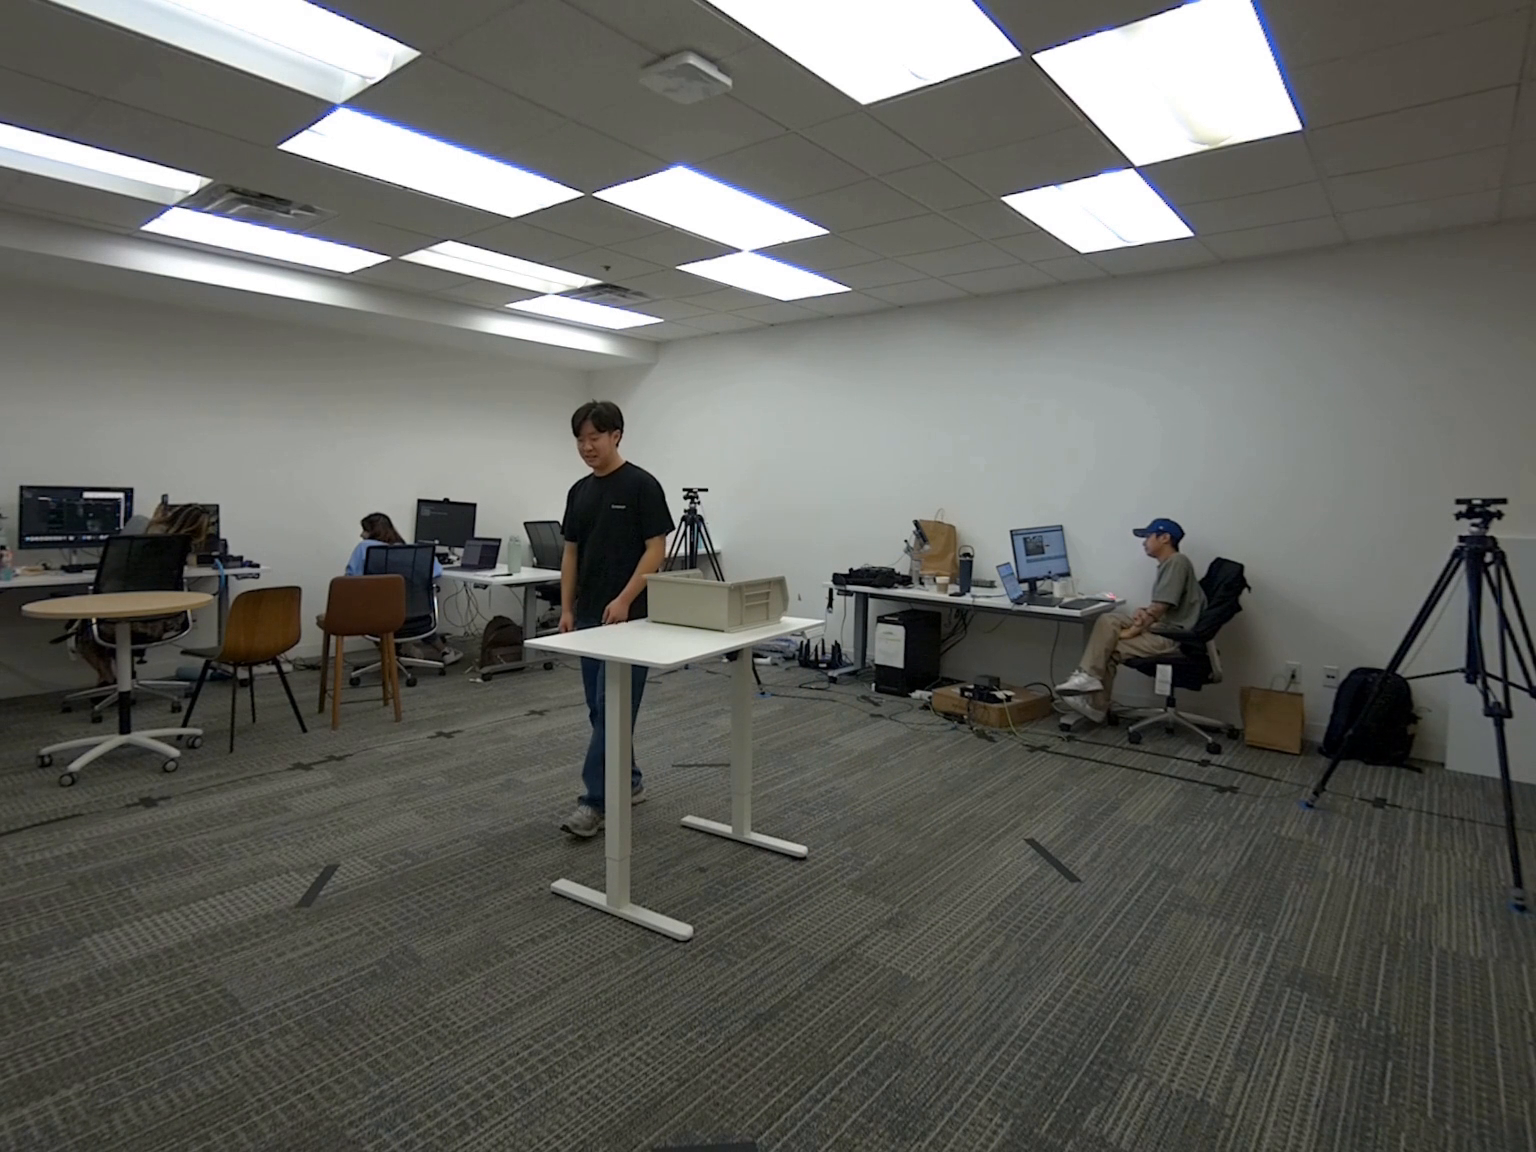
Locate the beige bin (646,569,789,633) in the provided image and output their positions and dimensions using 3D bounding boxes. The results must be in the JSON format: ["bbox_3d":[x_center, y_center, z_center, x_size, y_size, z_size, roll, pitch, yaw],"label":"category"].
[{"bbox_3d":[-0.207,0.087,3.230,0.436,0.188,0.367,5,8,36],"label":"beige bin"}]
